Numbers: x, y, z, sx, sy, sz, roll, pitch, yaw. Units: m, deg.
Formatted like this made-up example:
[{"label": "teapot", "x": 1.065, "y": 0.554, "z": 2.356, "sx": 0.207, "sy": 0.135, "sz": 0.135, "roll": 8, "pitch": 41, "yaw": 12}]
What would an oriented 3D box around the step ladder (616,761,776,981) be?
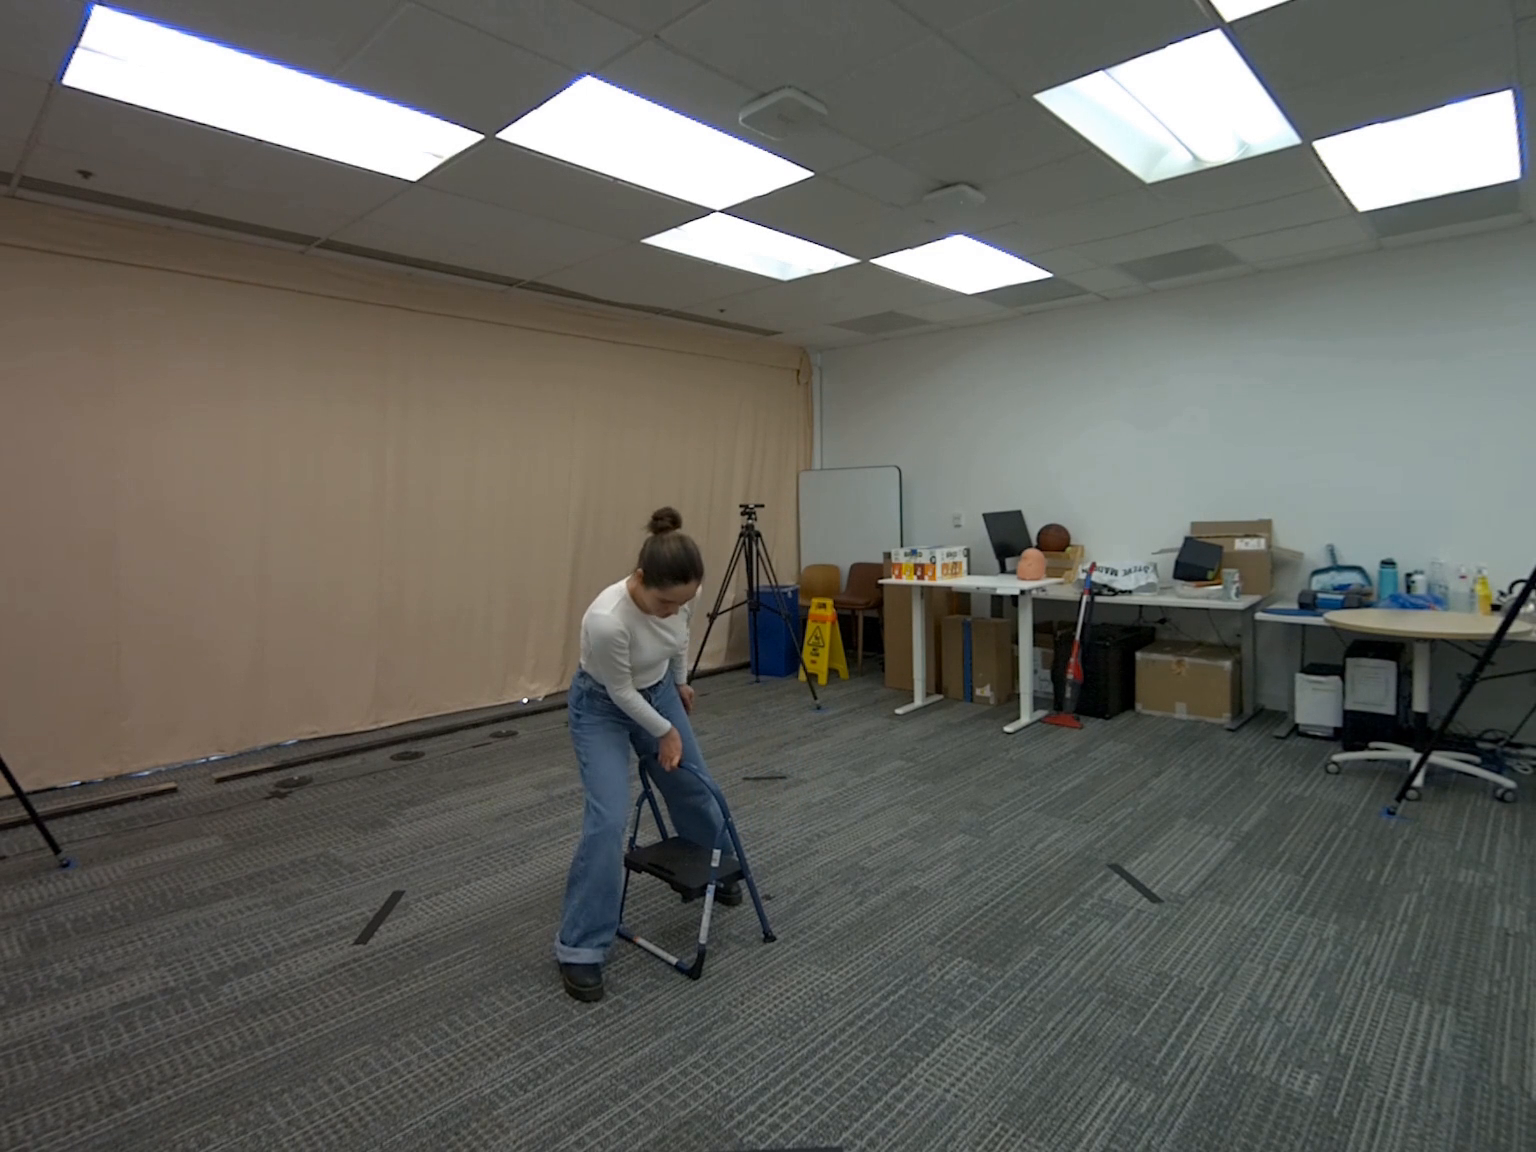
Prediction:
[{"label": "step ladder", "x": -0.249, "y": 0.870, "z": 2.709, "sx": 0.445, "sy": 0.605, "sz": 0.339, "roll": 2, "pitch": 5, "yaw": 43}]
